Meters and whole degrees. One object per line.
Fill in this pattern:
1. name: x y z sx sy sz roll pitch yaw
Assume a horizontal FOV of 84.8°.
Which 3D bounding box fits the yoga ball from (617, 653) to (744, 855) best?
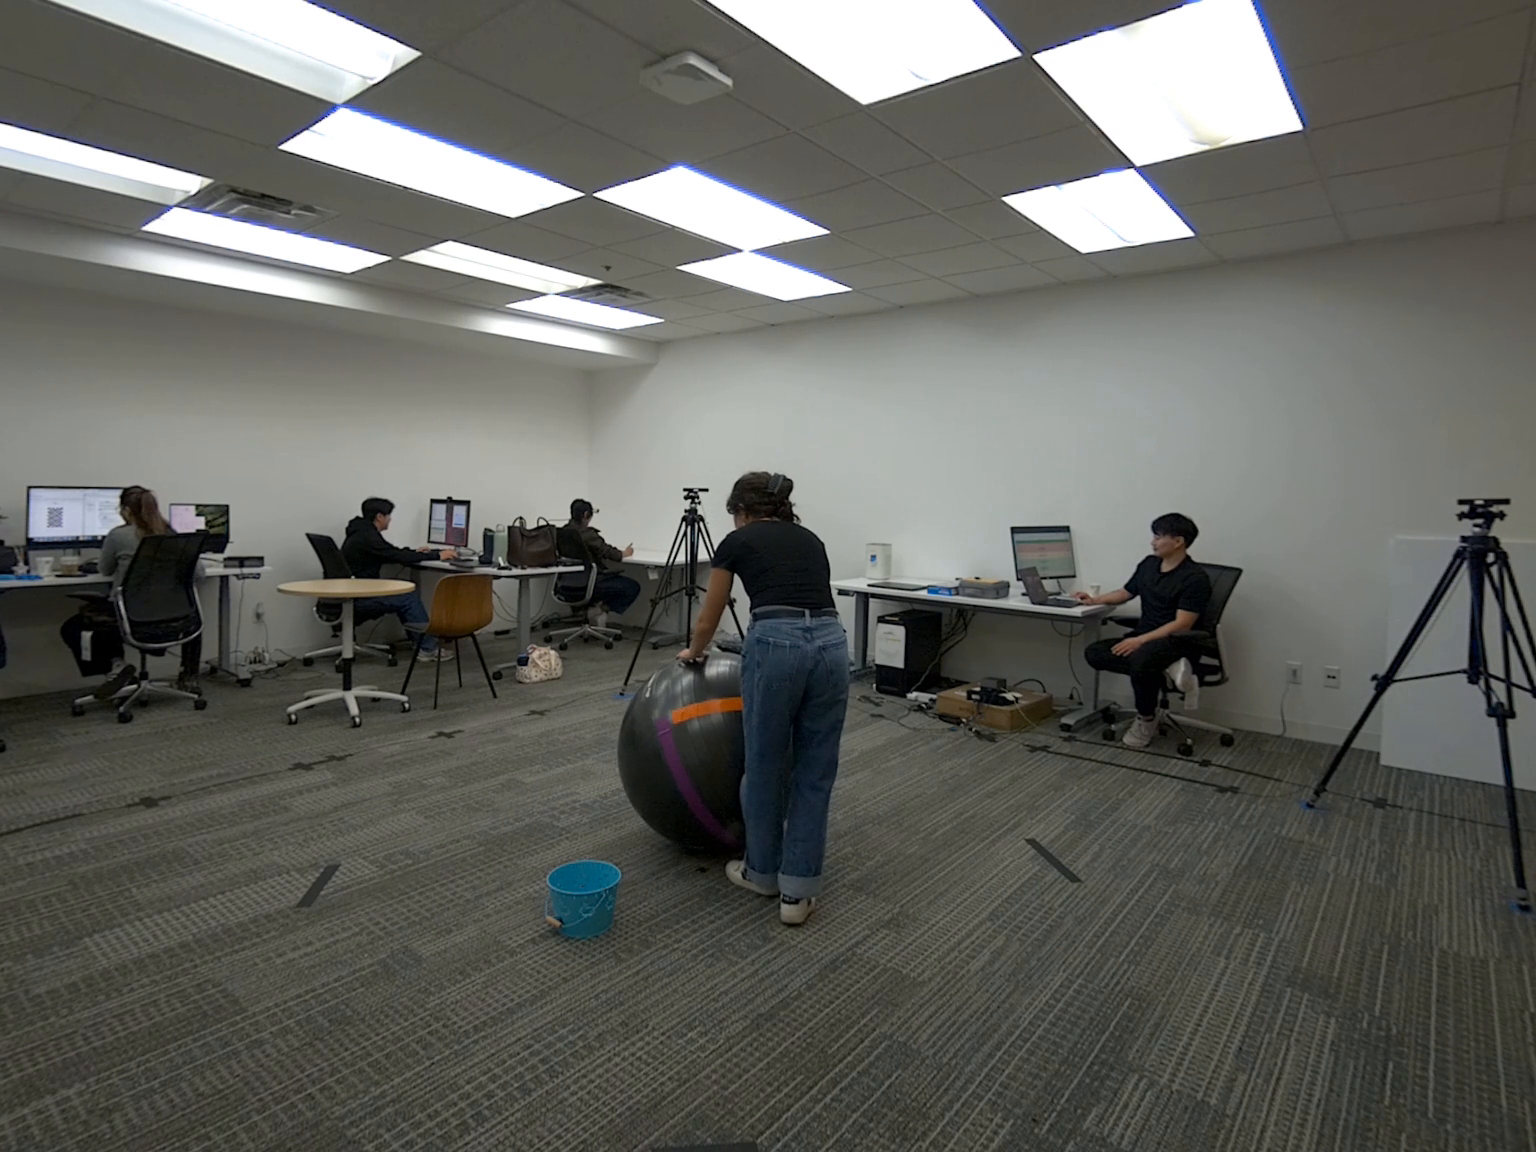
1. yoga ball: -0.218 0.677 3.333 0.757 0.756 0.762 1 4 -2
